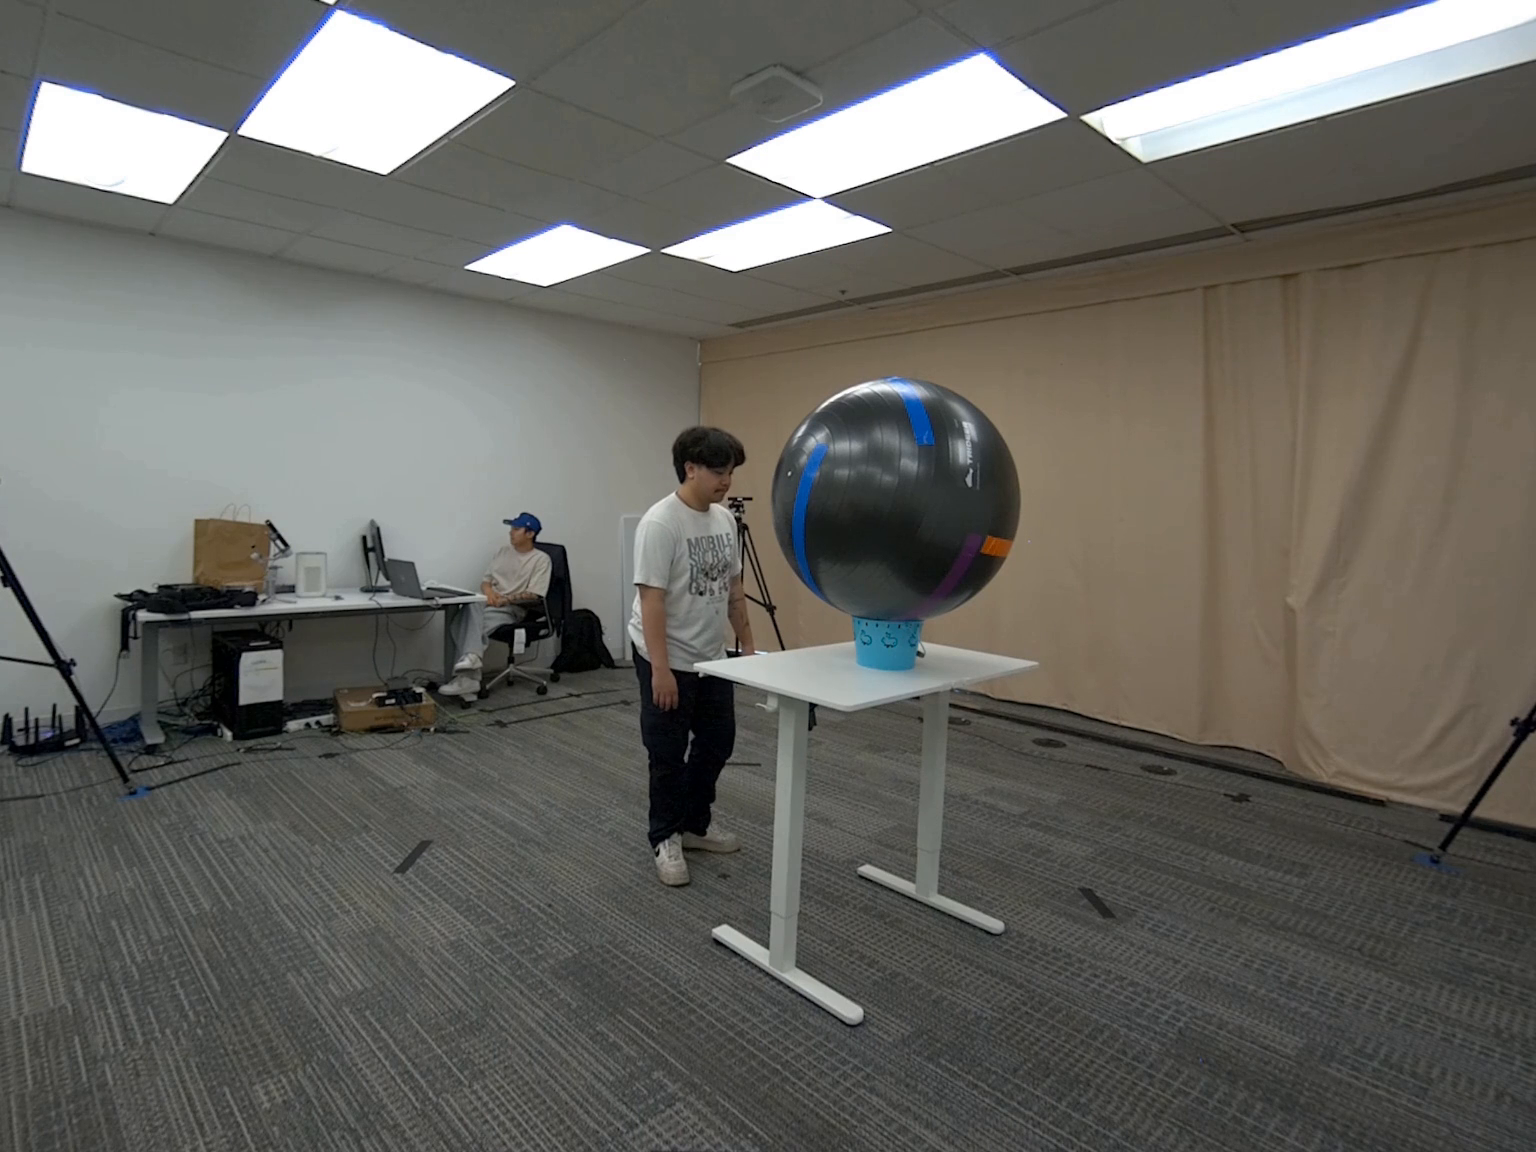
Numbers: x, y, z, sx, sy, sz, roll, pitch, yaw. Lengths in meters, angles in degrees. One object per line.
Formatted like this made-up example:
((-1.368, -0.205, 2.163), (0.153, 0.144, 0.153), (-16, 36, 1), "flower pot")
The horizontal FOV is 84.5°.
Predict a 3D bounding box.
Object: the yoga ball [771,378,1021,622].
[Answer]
((0.390, -0.219, 2.620), (0.757, 0.756, 0.761), (1, 4, -1), "yoga ball")
